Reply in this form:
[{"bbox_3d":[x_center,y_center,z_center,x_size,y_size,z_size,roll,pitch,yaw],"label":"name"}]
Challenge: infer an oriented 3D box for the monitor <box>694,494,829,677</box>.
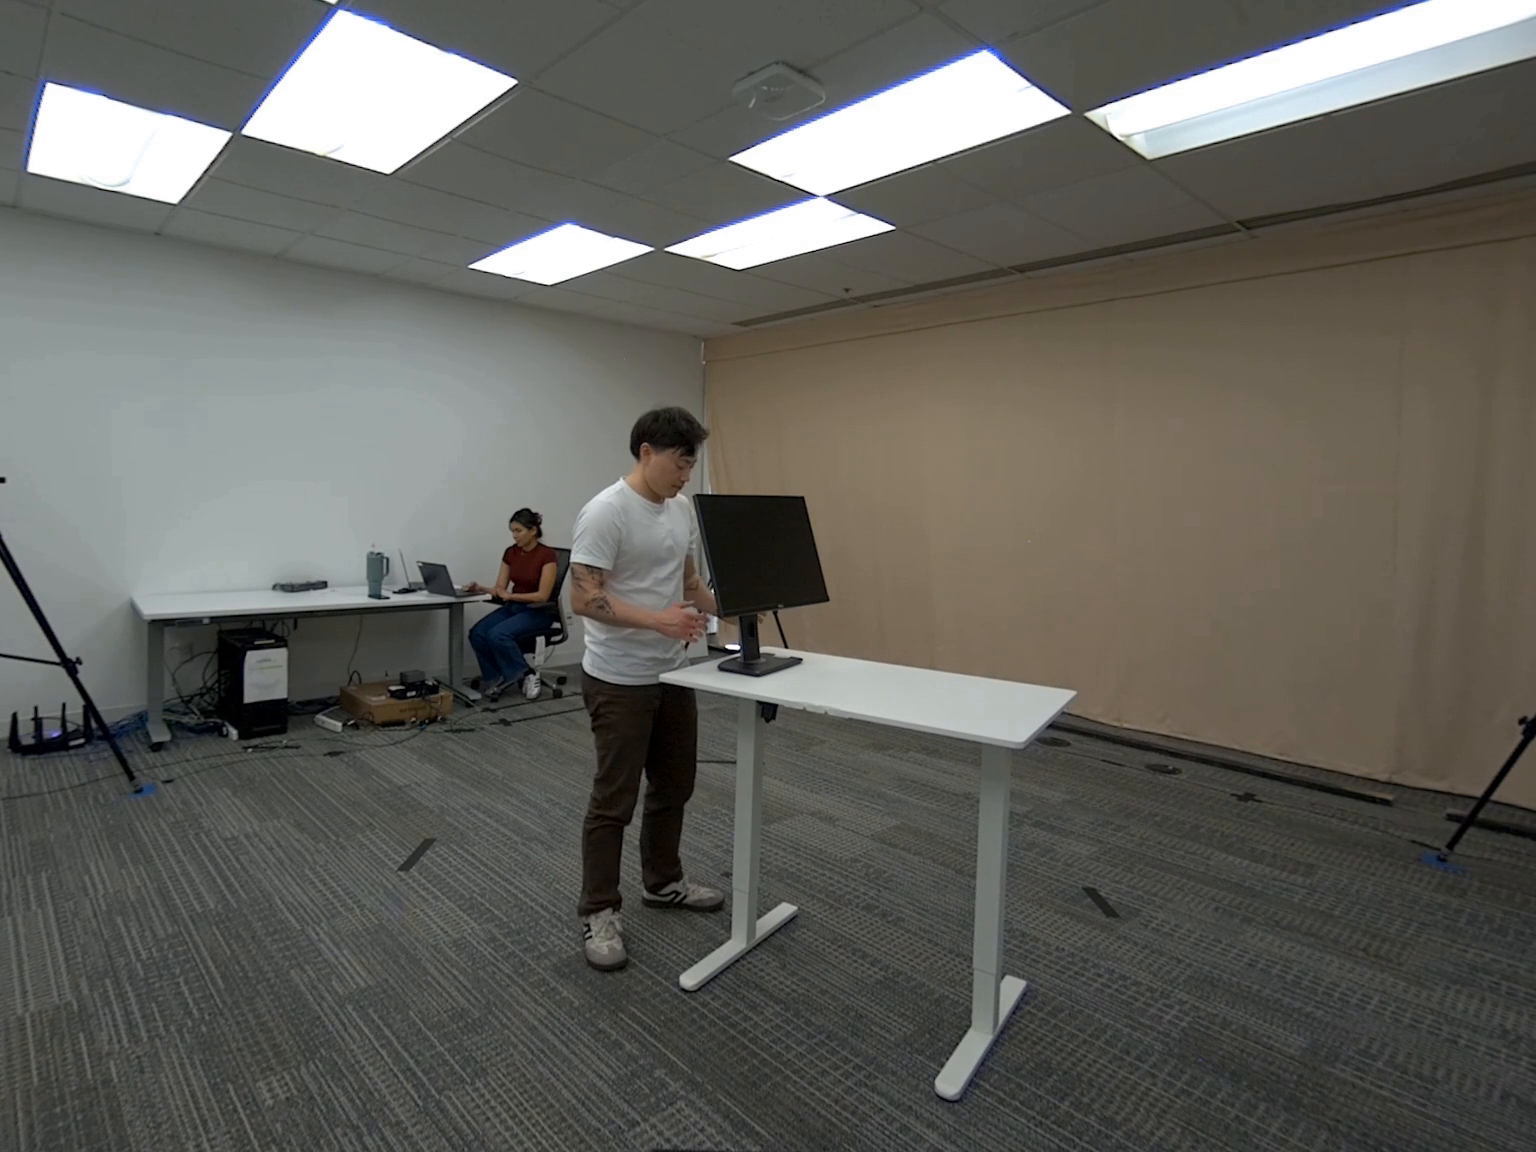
[{"bbox_3d":[-0.035,0.017,2.520,0.191,0.522,0.528,-1,2,35],"label":"monitor"}]
